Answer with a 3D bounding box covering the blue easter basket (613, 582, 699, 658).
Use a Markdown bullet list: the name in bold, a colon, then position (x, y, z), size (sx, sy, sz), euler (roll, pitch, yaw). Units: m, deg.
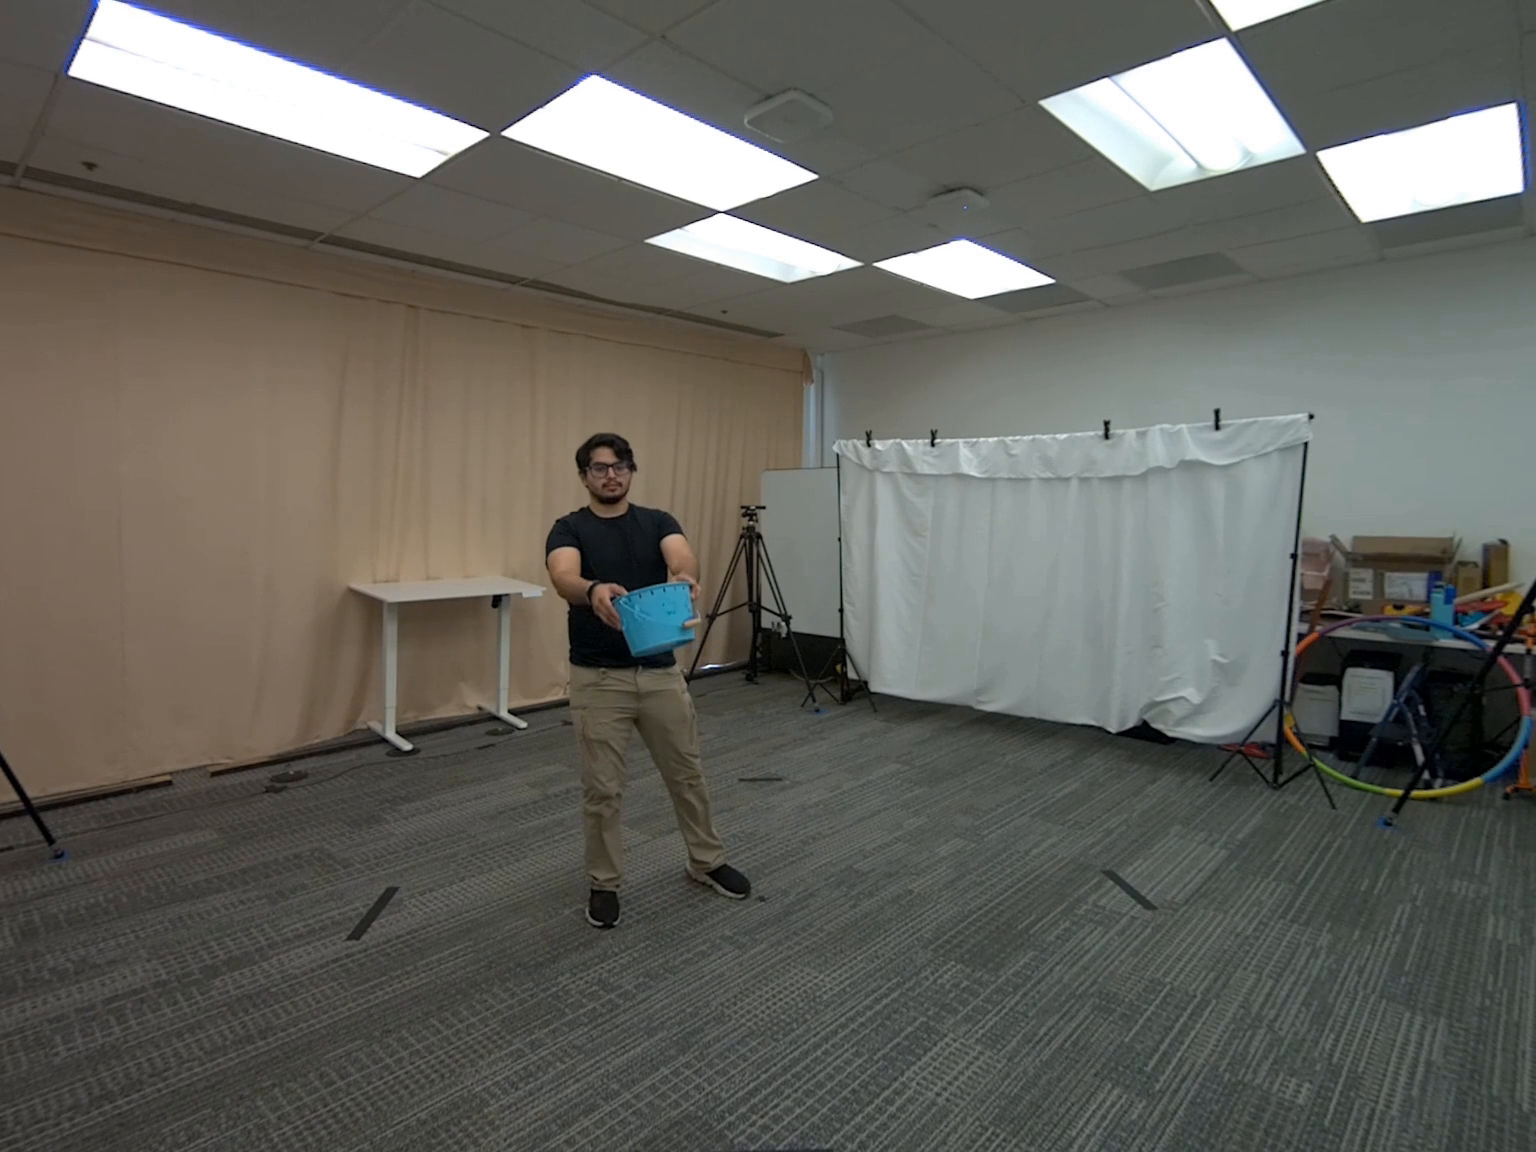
- **blue easter basket**: position (-0.307, 0.132, 2.326), size (0.243, 0.157, 0.242), euler (-13, -10, -4)
